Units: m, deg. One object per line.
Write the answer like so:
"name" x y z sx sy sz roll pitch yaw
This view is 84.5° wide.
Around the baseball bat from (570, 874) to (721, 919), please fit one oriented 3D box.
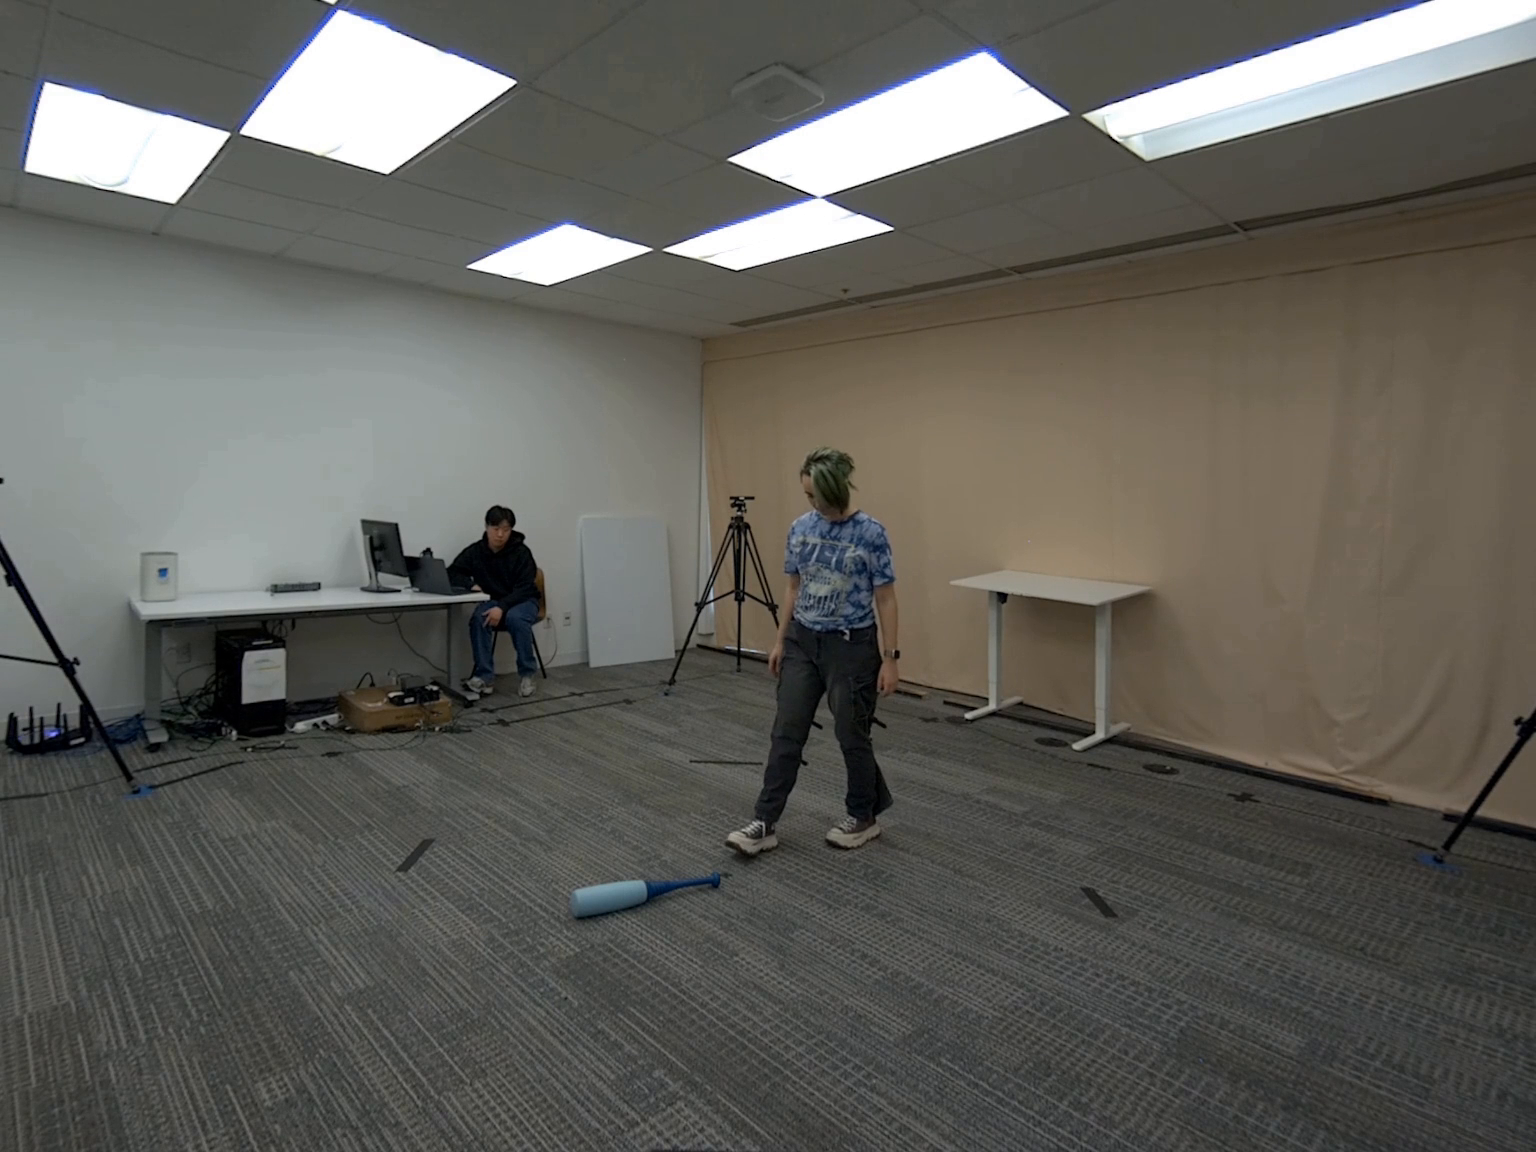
"baseball bat" -0.416 1.087 2.885 0.532 0.089 0.091 2 3 -29
